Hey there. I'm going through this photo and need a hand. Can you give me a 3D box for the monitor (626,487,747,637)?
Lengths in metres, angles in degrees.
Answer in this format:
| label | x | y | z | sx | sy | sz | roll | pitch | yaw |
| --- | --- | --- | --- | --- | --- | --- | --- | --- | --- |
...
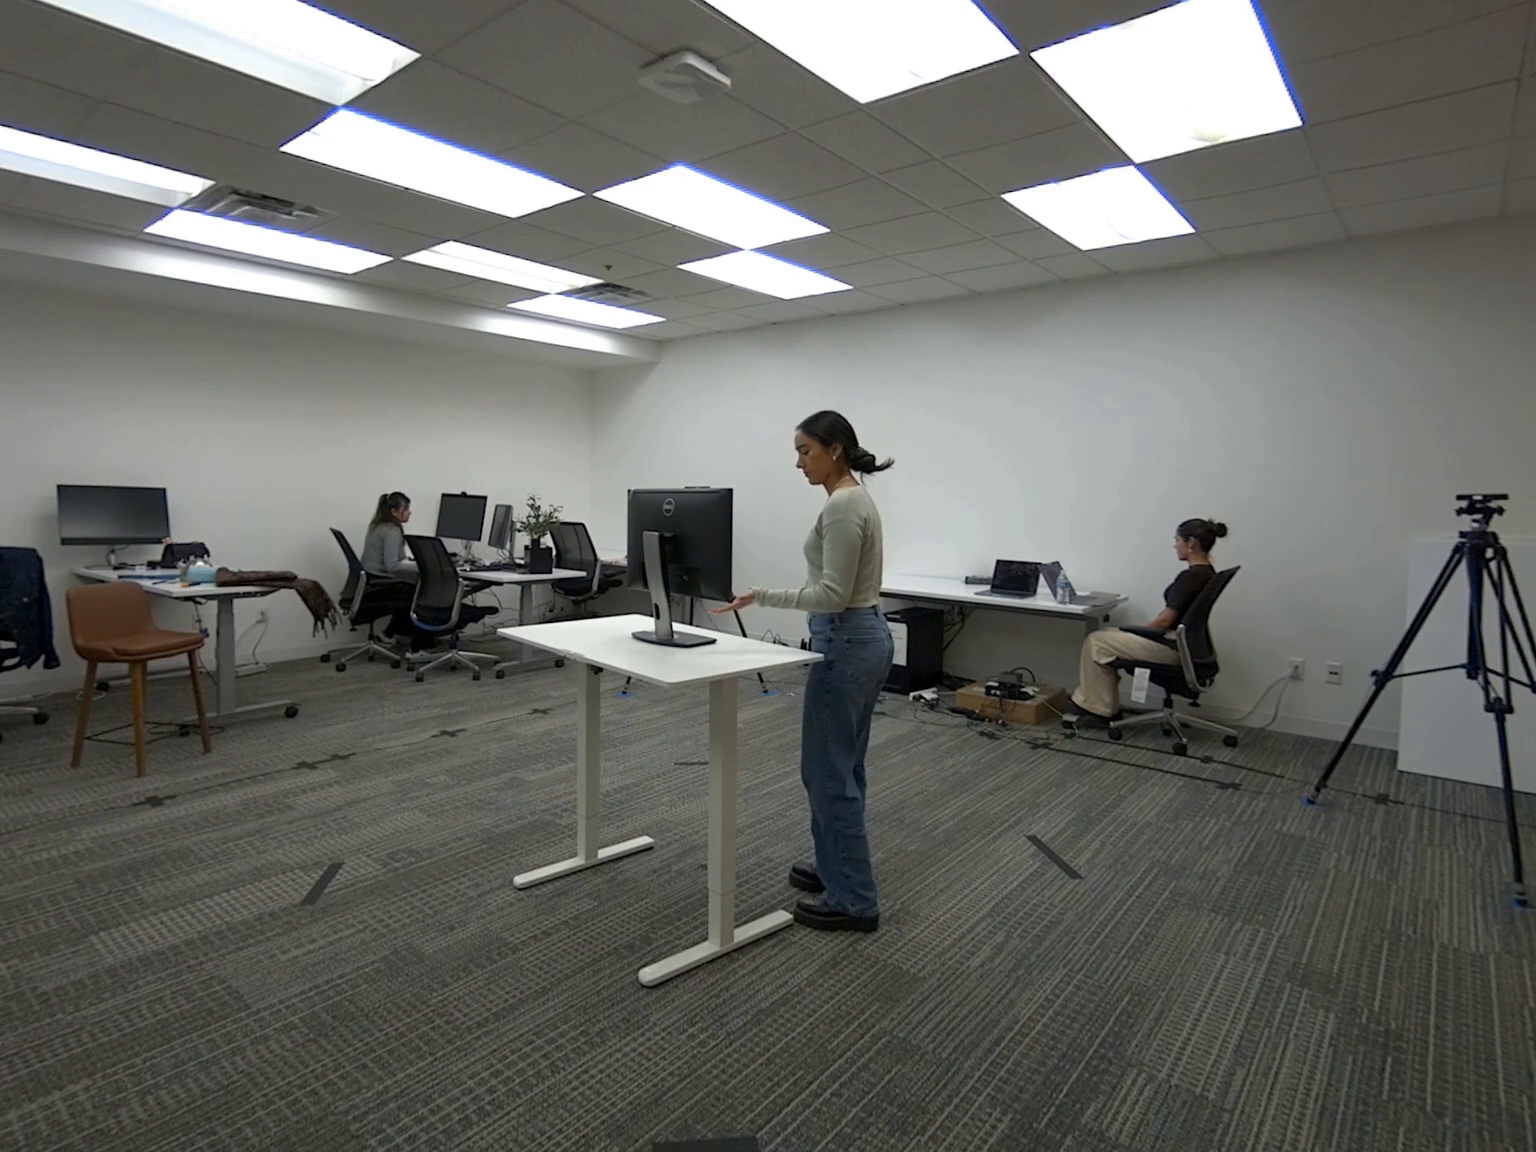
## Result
| label | x | y | z | sx | sy | sz | roll | pitch | yaw |
| --- | --- | --- | --- | --- | --- | --- | --- | --- | --- |
| monitor | -0.332 | -0.031 | 2.799 | 0.557 | 0.523 | 0.181 | 4 | -1 | 44 |
